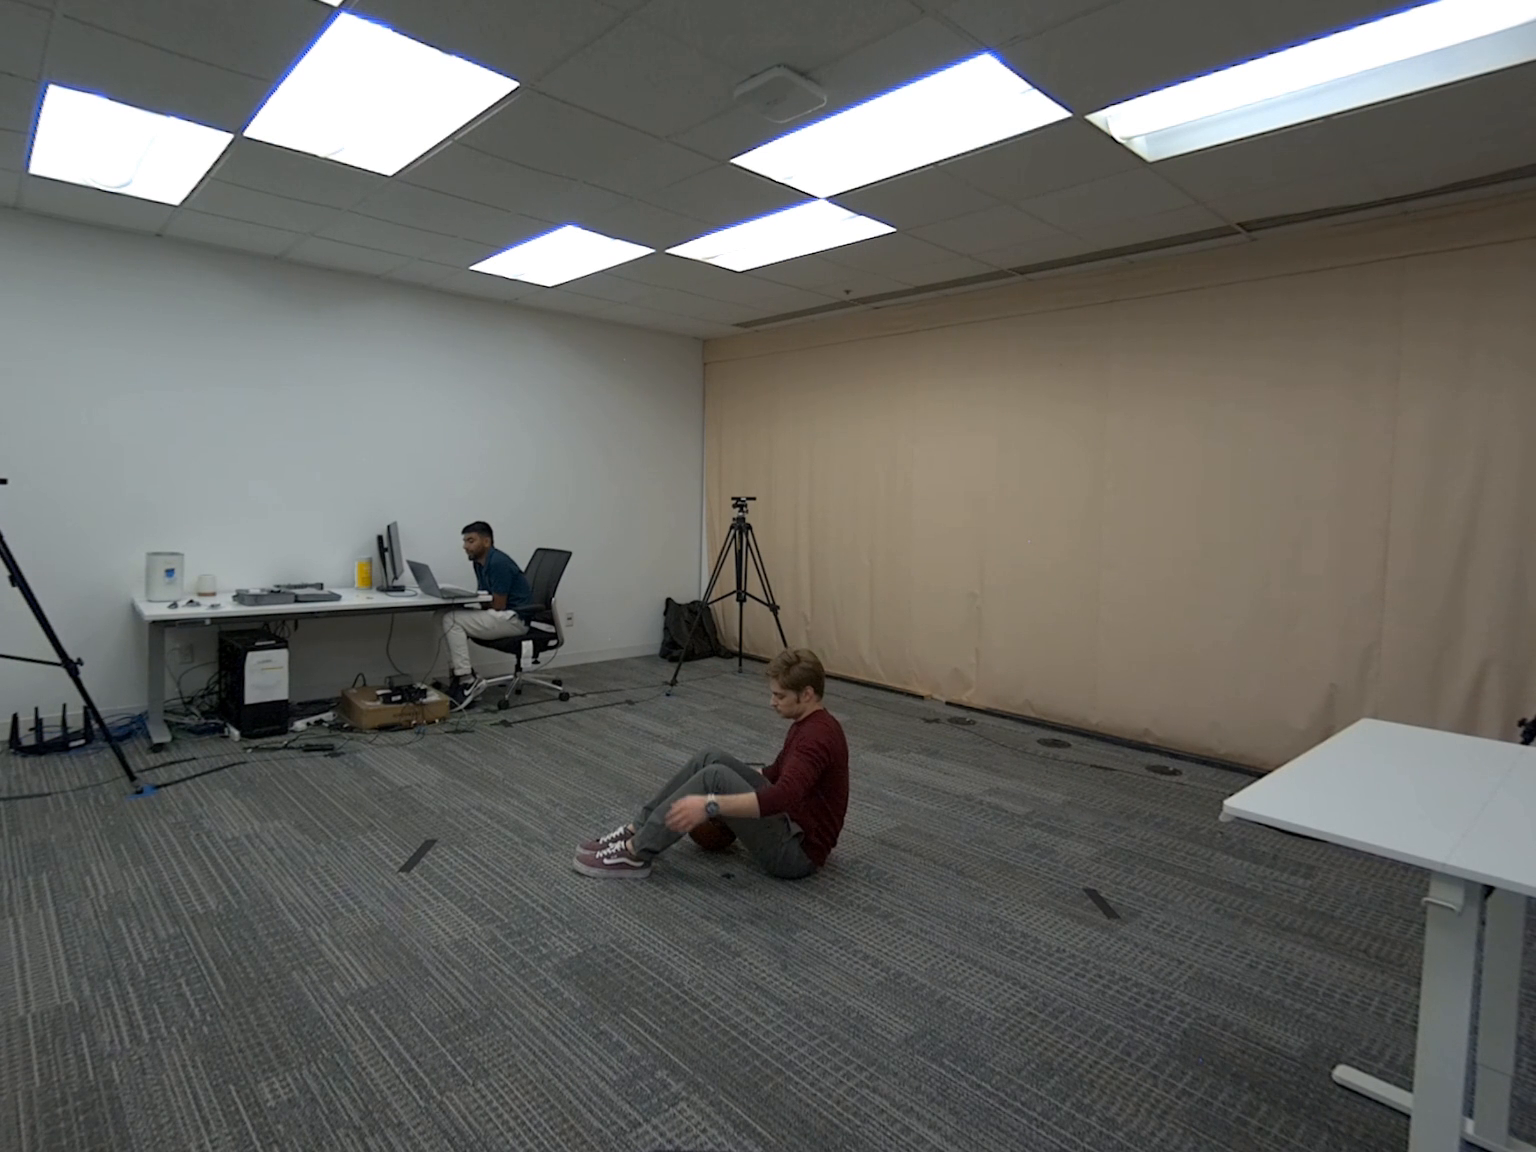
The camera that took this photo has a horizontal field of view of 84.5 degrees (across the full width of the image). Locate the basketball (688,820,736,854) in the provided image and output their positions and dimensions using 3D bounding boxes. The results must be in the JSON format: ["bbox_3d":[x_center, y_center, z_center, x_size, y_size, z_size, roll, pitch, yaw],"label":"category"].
[{"bbox_3d":[-0.214,0.961,3.362,0.236,0.235,0.237,1,4,-1],"label":"basketball"}]
